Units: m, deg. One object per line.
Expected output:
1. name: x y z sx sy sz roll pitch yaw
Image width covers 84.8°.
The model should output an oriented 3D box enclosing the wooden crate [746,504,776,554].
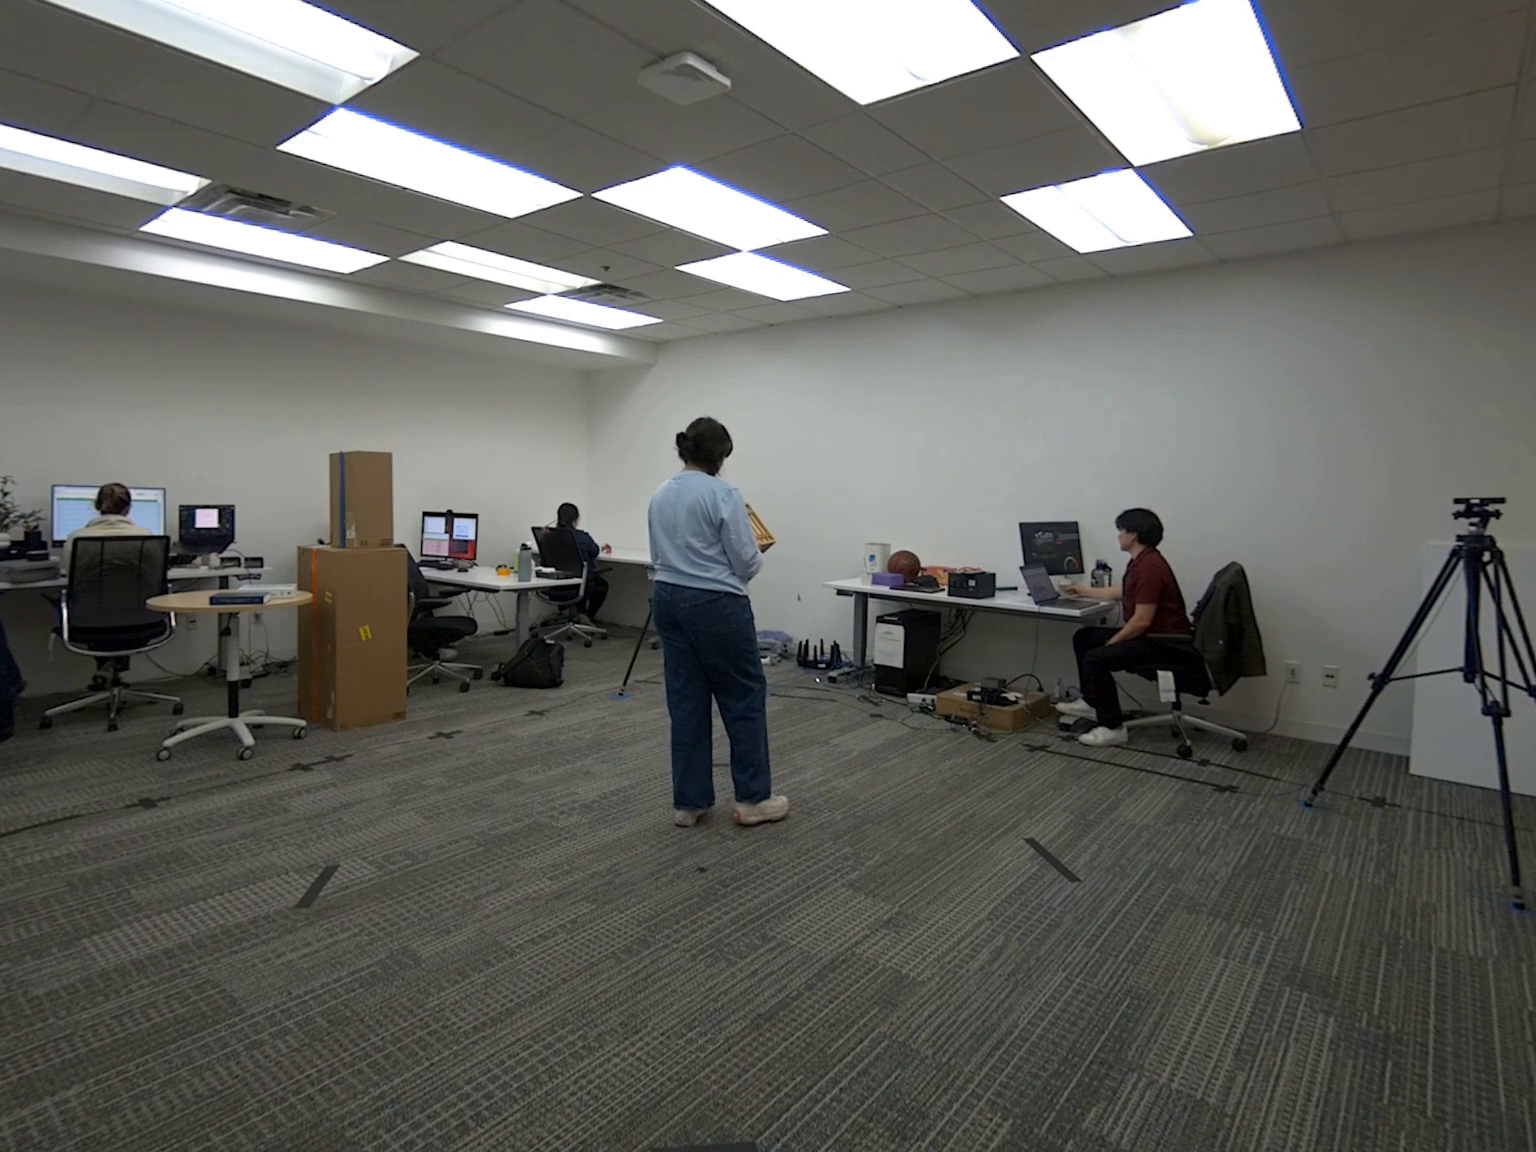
1. wooden crate: -0.182 -0.143 3.866 0.274 0.308 0.317 -42 -14 28
